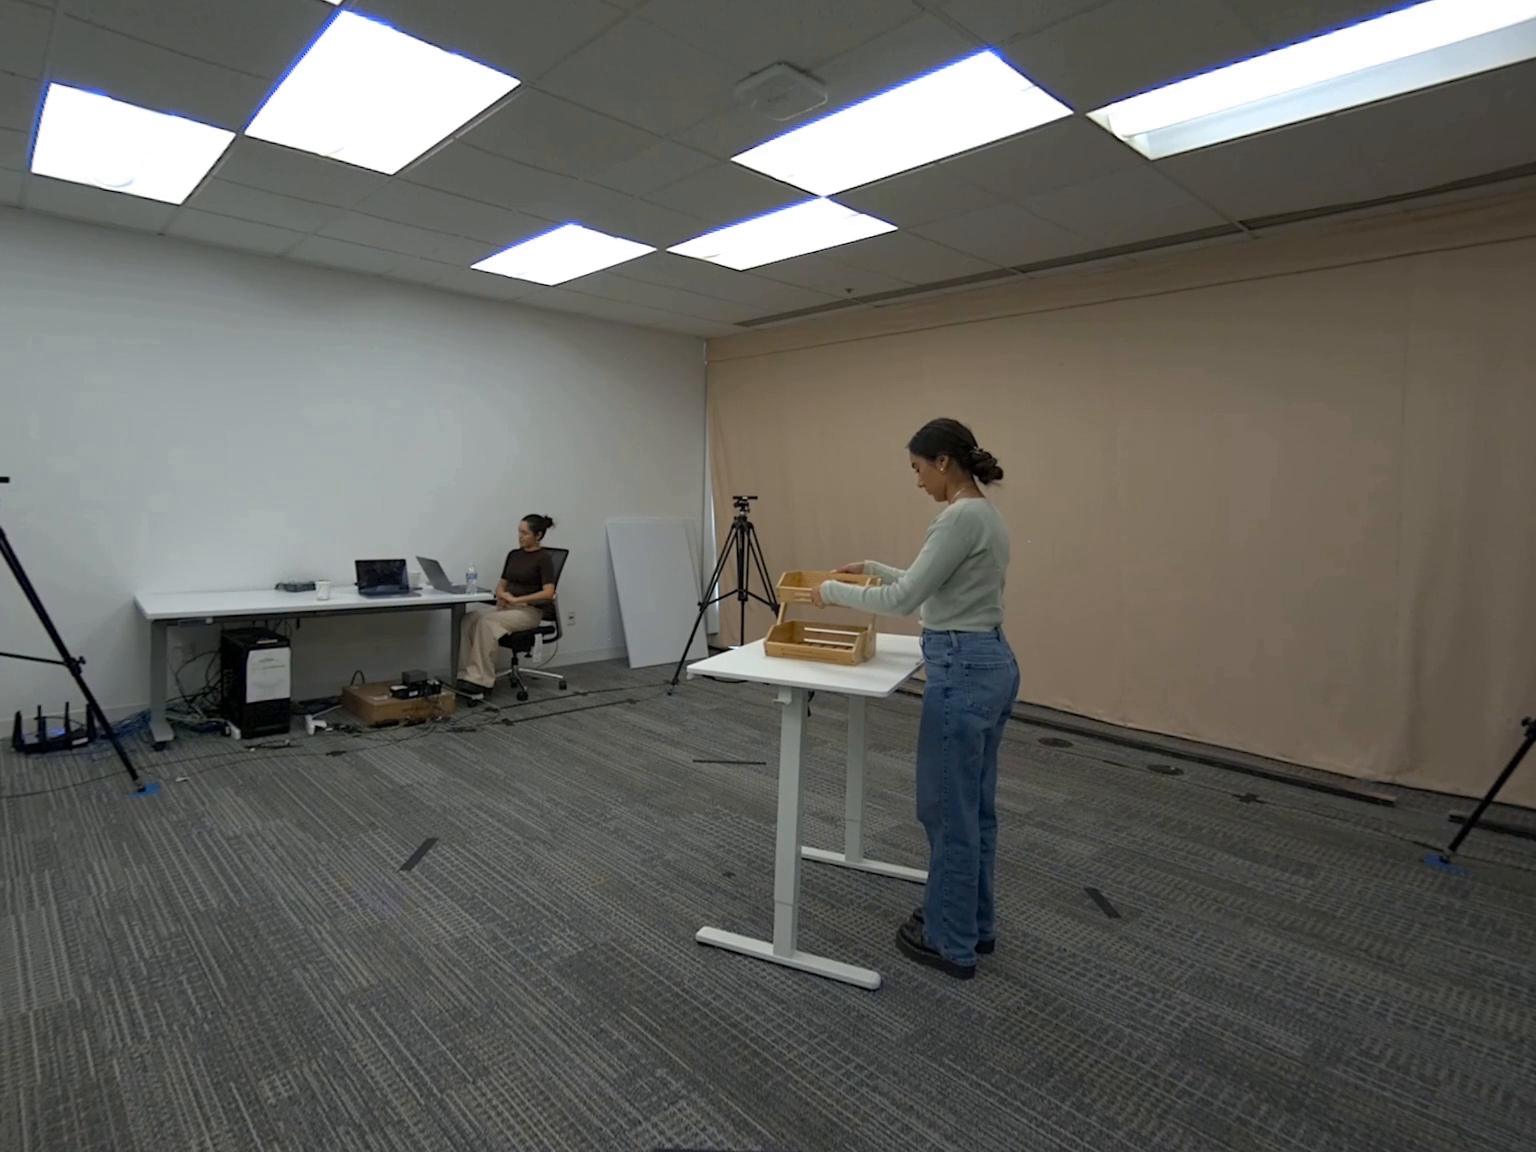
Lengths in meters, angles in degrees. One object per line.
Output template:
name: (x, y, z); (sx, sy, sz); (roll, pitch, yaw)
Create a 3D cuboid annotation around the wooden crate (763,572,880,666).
wooden crate: (0.168, 0.127, 2.755); (0.330, 0.273, 0.297); (3, 4, 22)
